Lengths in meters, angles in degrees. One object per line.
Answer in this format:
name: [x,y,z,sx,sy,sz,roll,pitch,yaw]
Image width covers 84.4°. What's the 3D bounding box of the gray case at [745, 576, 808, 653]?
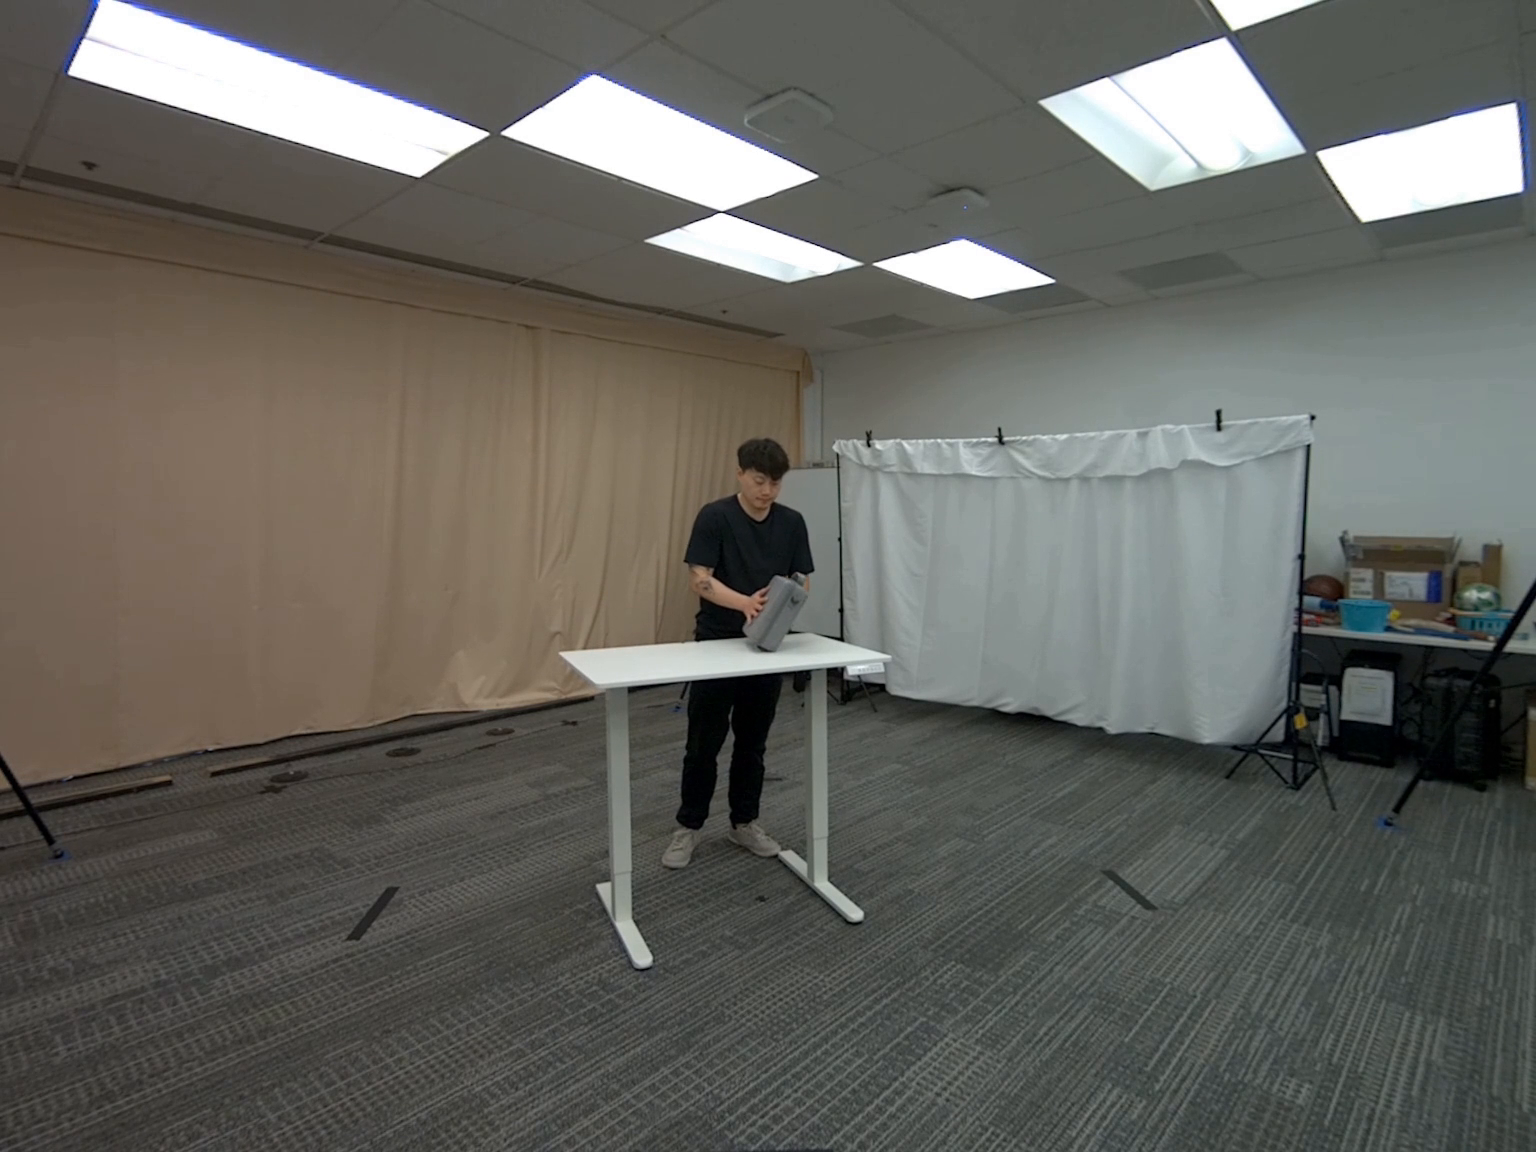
gray case: [0.026,0.129,3.022,0.103,0.260,0.259,19,1,-8]
